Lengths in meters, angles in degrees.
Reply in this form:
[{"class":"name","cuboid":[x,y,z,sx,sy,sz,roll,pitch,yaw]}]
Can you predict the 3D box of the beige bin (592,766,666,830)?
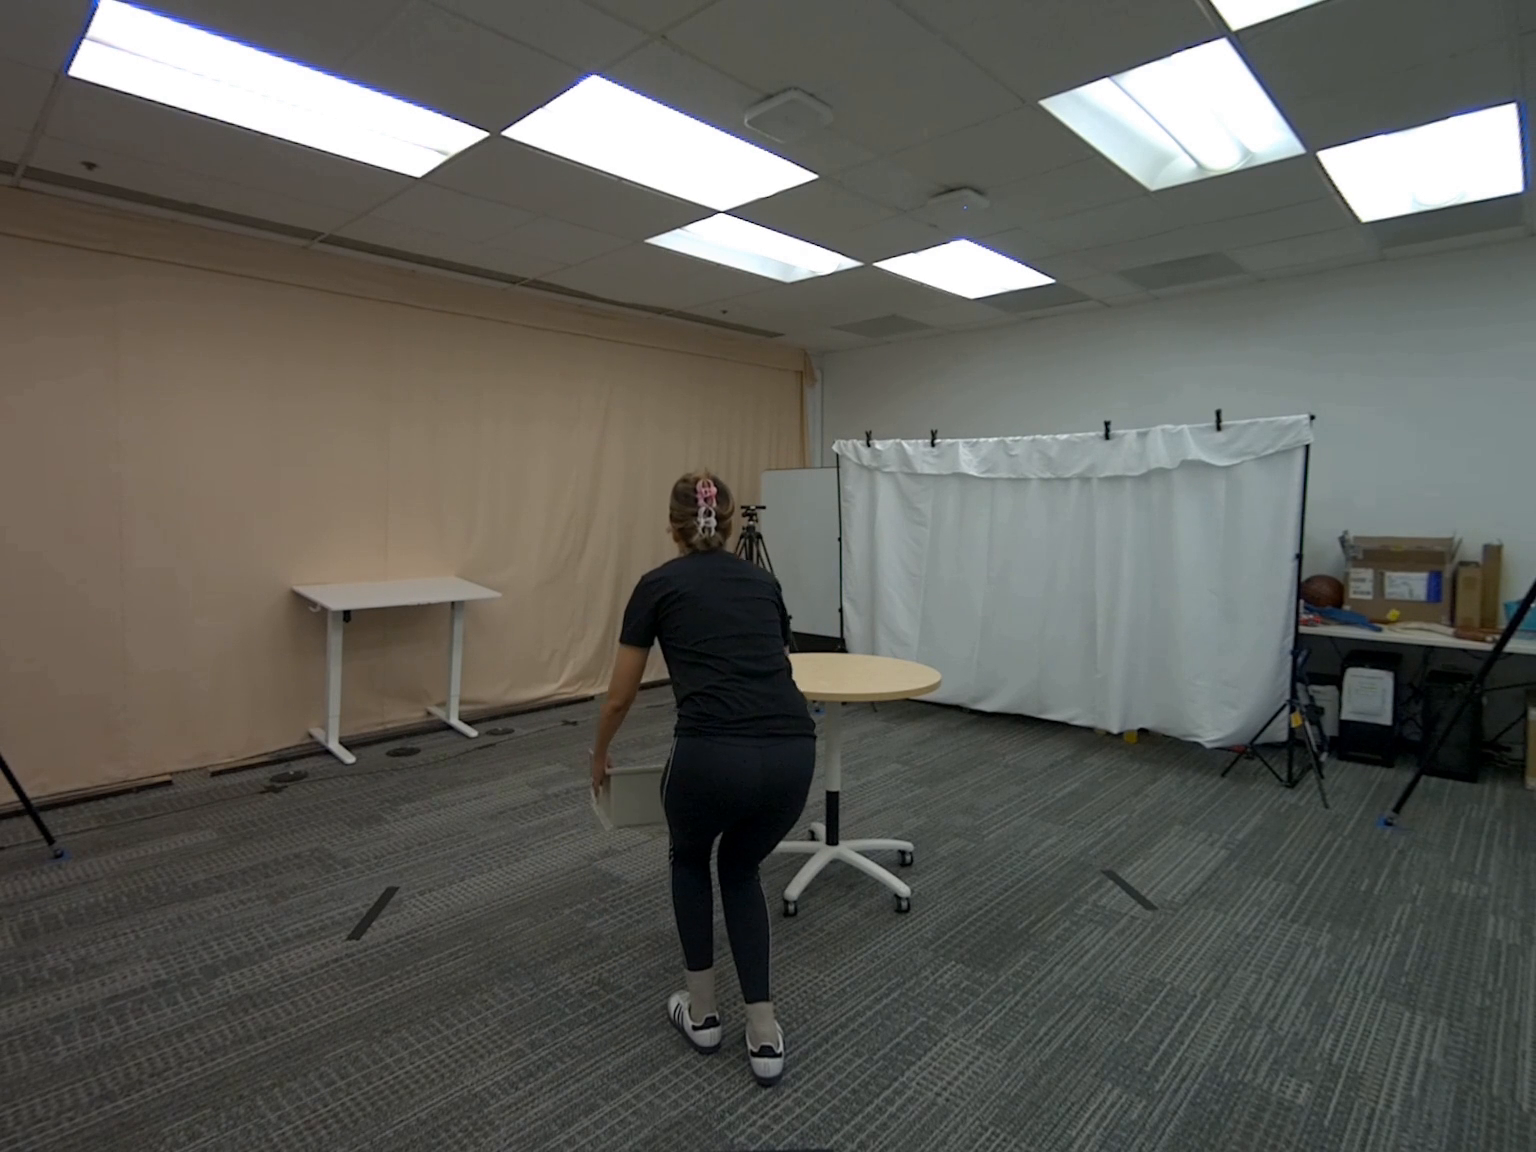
[{"class":"beige bin","cuboid":[-0.328,0.654,2.639,0.415,0.189,0.384,0,-1,-18]}]
